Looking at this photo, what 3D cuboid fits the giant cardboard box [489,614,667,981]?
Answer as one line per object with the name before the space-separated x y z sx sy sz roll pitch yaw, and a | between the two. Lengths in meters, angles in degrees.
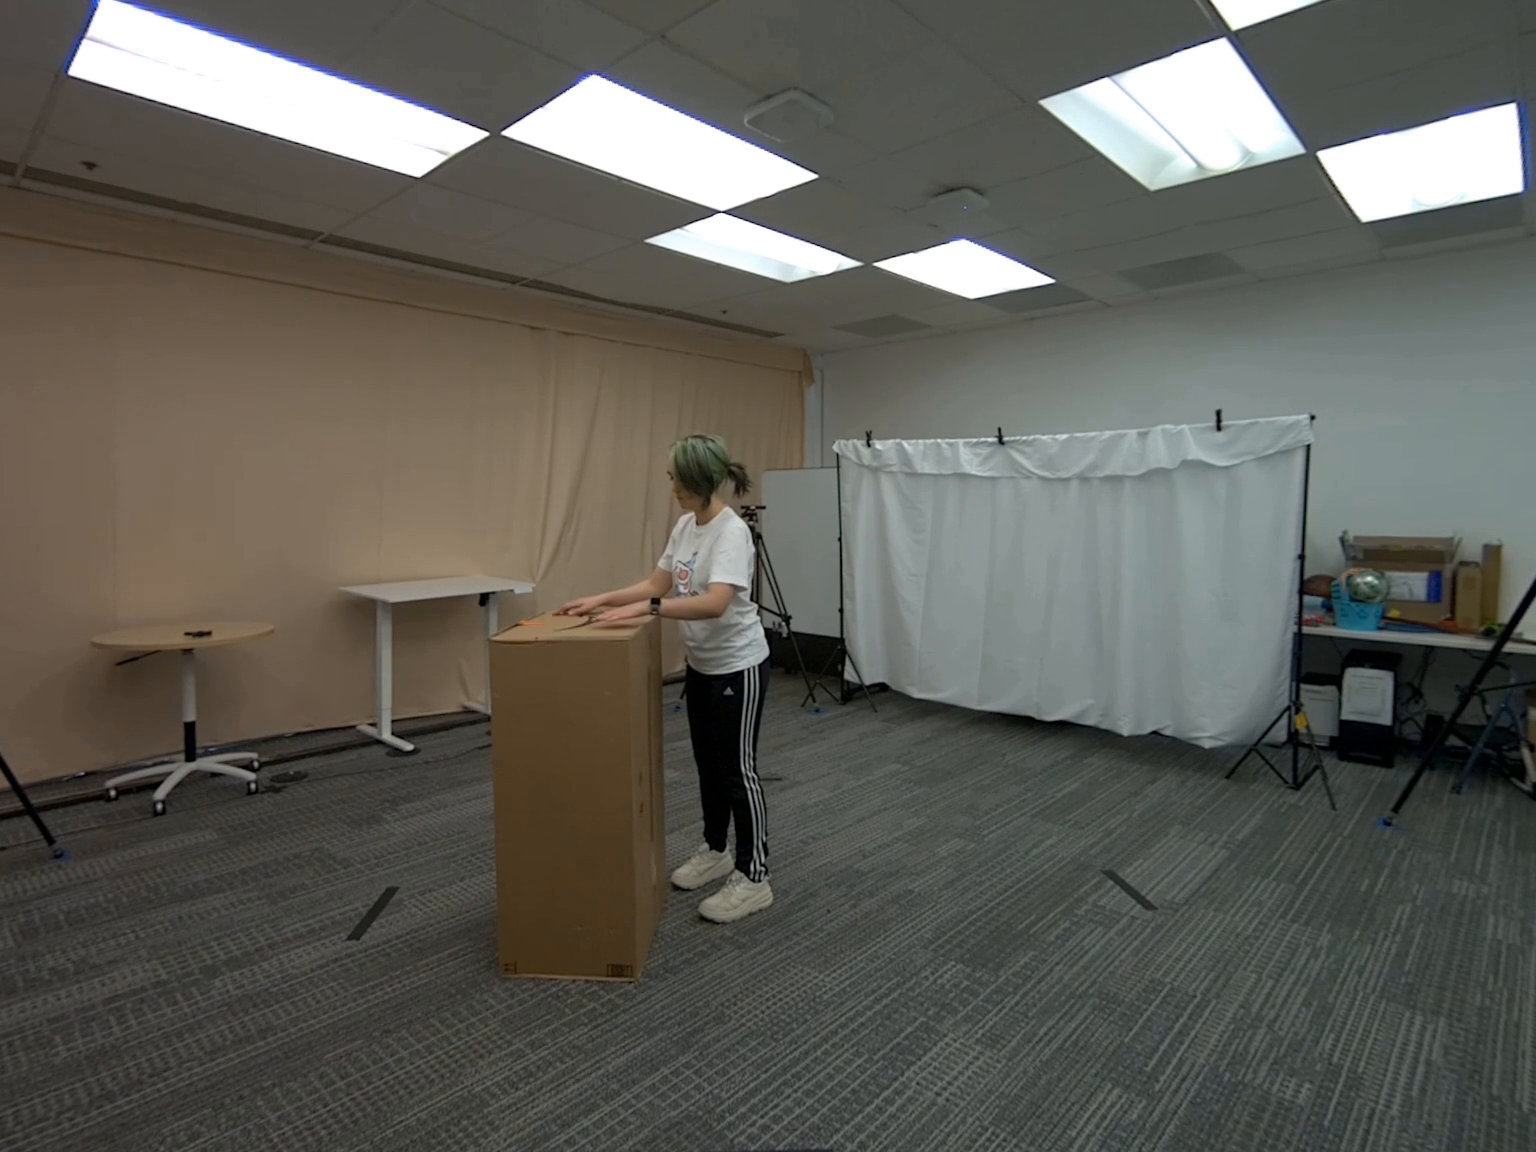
giant cardboard box | -0.591 0.661 2.728 0.448 1.025 0.583 0 4 2
